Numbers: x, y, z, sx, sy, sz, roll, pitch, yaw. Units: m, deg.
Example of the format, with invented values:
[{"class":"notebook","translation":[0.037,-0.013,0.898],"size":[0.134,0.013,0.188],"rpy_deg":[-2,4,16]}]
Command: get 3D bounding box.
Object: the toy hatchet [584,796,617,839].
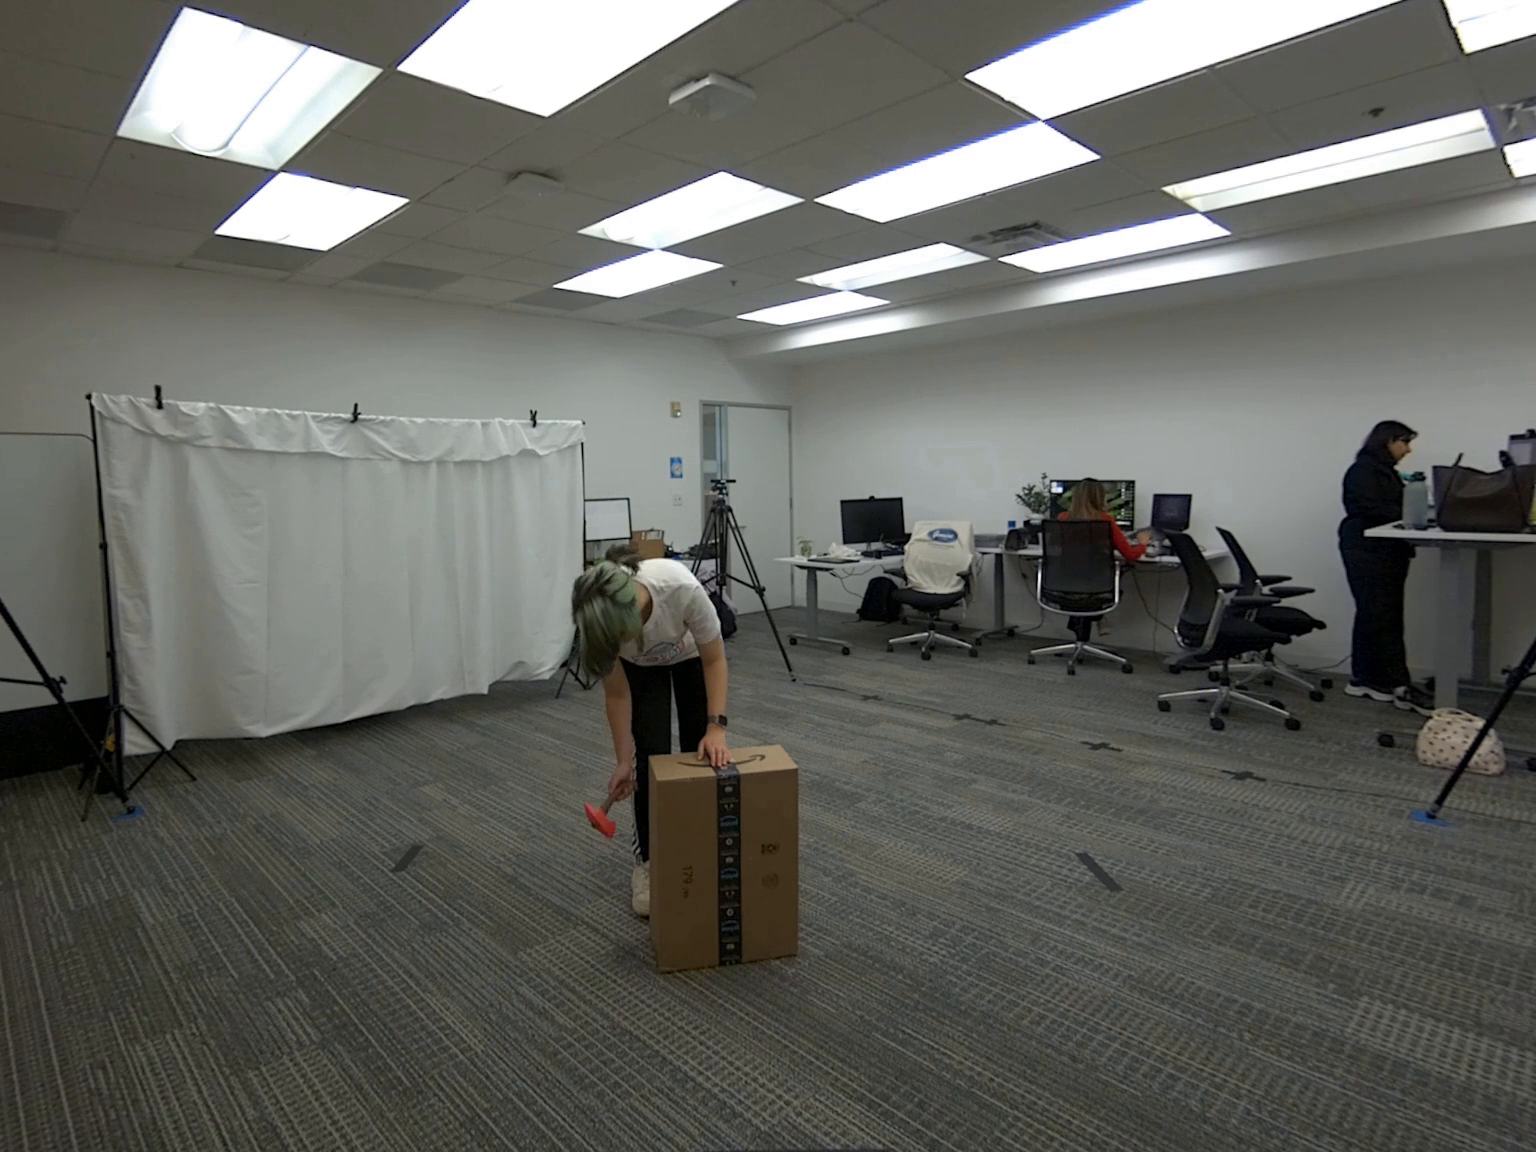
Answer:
[{"class":"toy hatchet","translation":[-0.454,0.723,2.614],"size":[0.030,0.133,0.264],"rpy_deg":[-38,-15,21]}]
